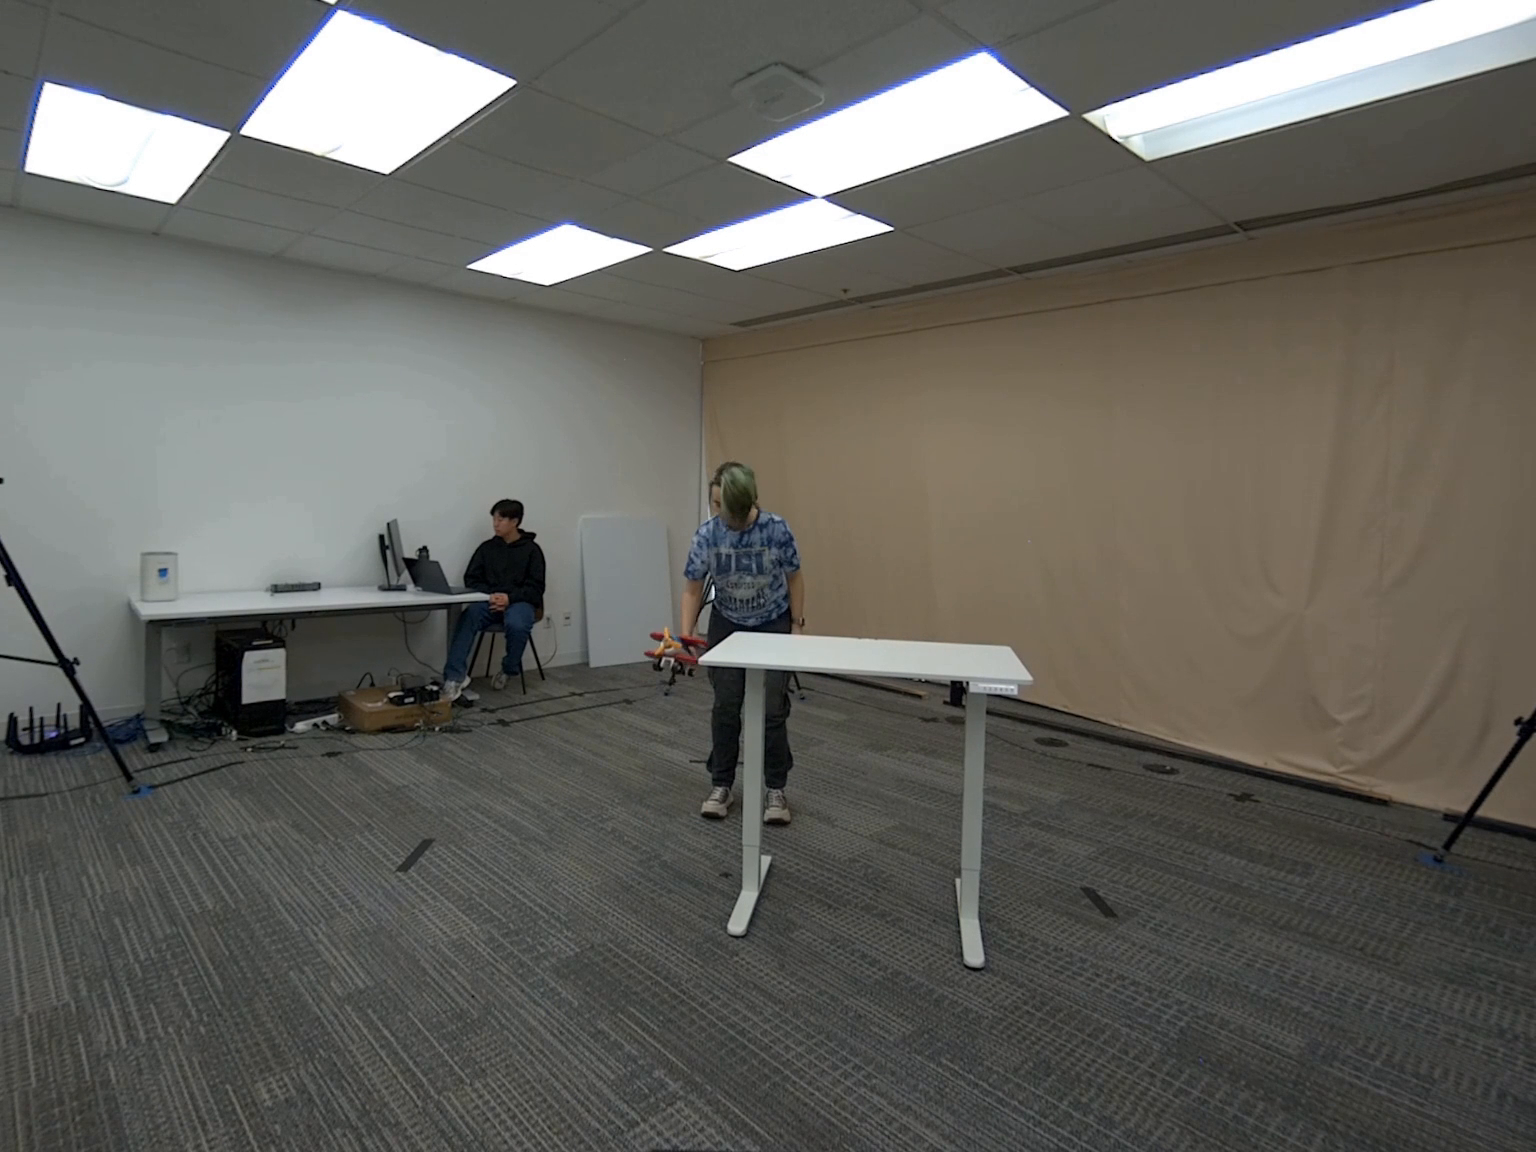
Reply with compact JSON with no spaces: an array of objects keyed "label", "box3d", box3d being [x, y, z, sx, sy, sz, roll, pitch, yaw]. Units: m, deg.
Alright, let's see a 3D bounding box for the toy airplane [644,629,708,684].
[{"label":"toy airplane","box3d":[-0.389,0.322,3.402,0.250,0.157,0.259,9,-7,-4]}]
